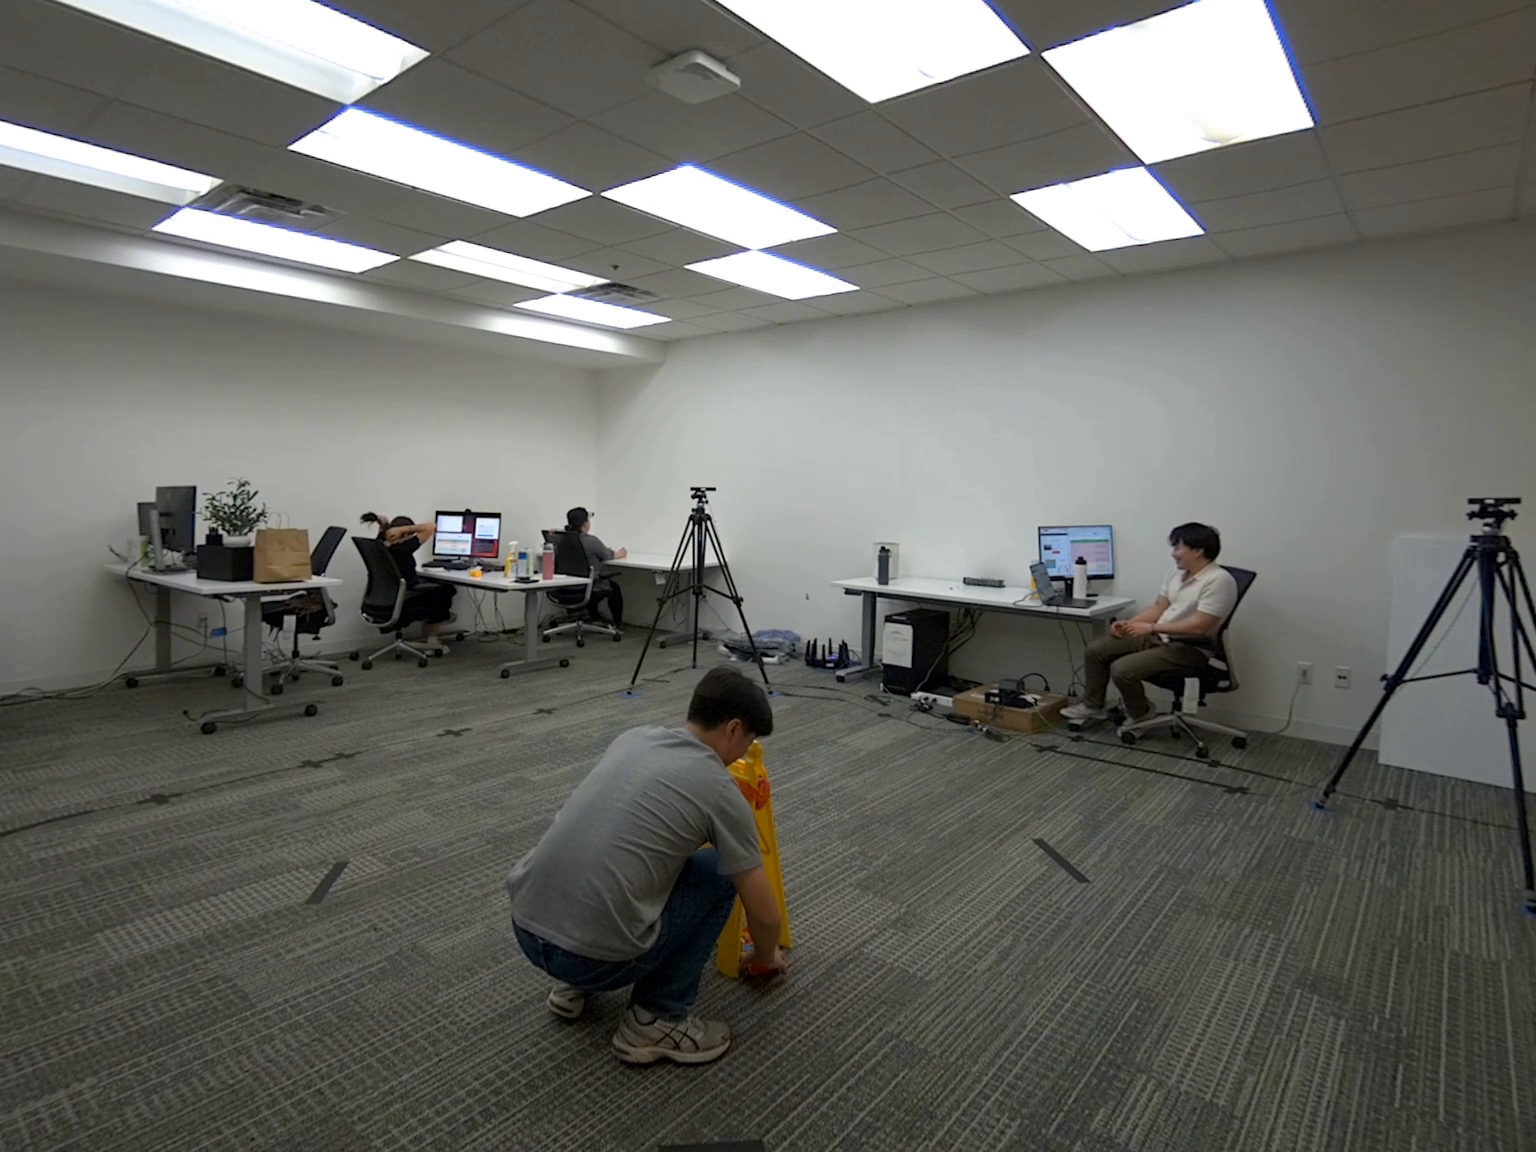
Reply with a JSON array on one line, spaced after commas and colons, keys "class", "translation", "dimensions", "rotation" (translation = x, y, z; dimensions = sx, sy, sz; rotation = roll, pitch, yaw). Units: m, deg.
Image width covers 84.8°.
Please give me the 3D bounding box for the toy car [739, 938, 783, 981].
[{"class": "toy car", "translation": [-0.091, 1.132, 2.542], "dimensions": [0.128, 0.082, 0.263], "rotation": [-8, 16, -24]}]
